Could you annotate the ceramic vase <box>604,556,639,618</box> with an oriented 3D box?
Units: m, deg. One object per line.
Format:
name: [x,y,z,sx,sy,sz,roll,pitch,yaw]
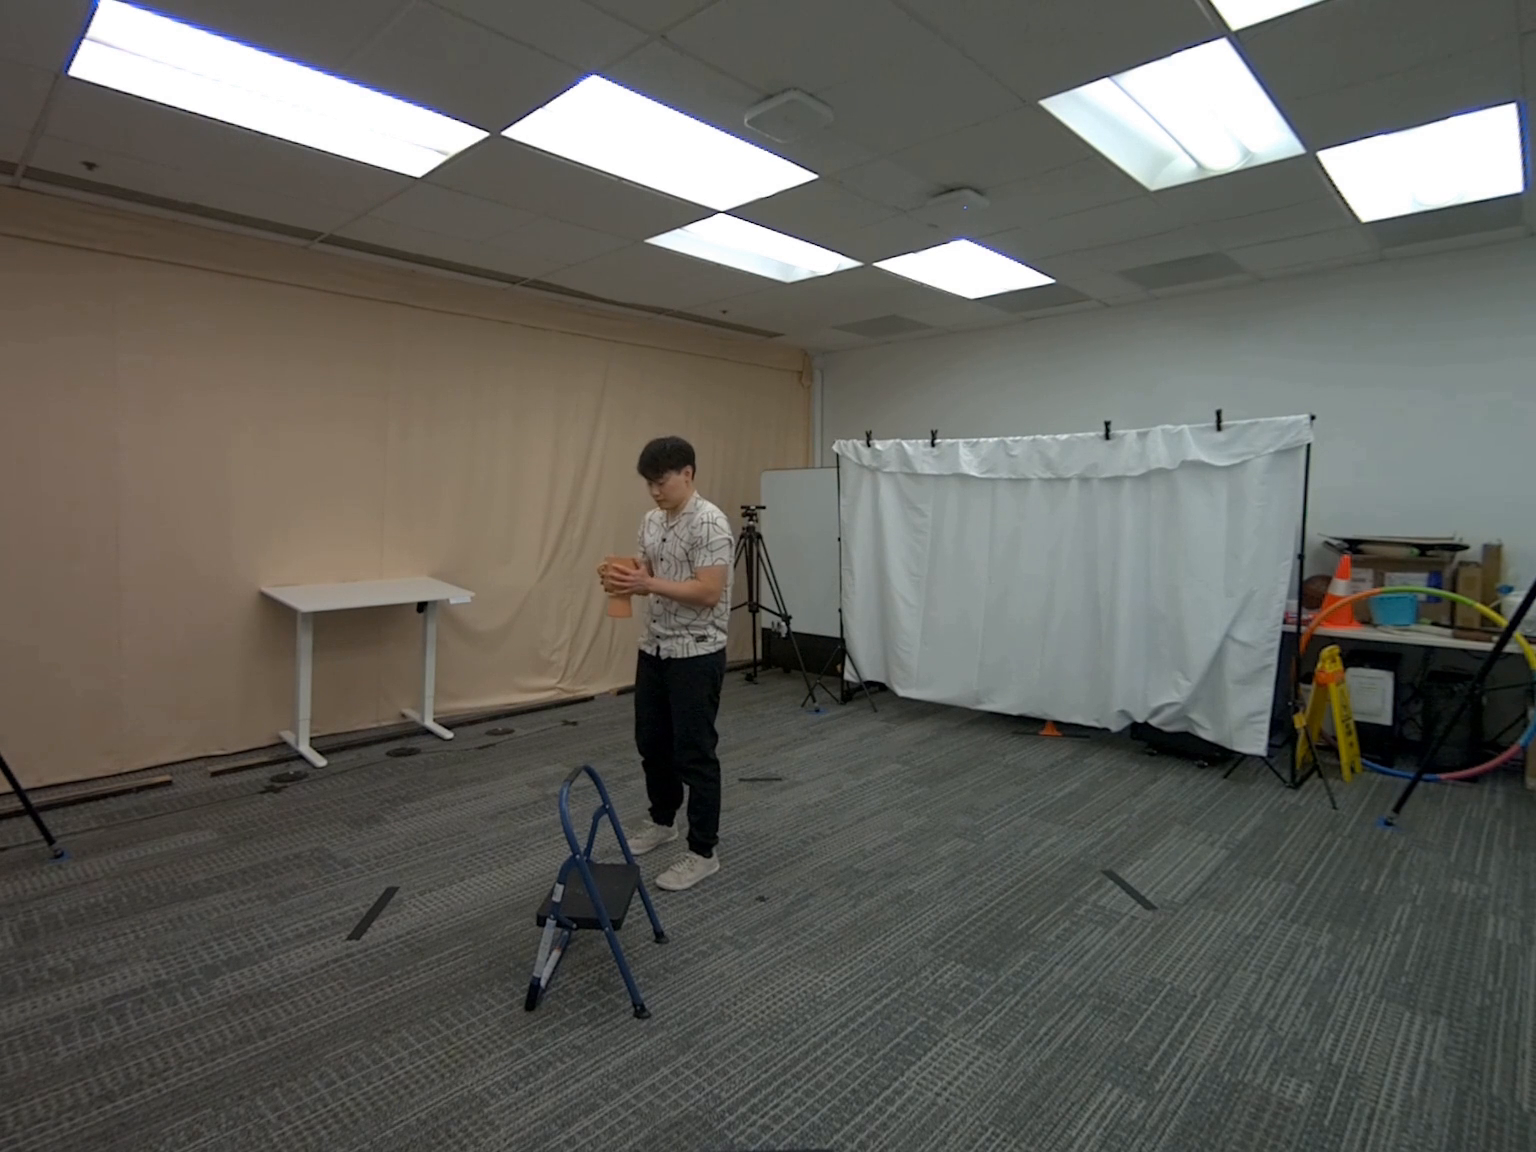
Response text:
ceramic vase: [-0.546,0.040,3.152,0.158,0.220,0.135,1,-1,-6]
